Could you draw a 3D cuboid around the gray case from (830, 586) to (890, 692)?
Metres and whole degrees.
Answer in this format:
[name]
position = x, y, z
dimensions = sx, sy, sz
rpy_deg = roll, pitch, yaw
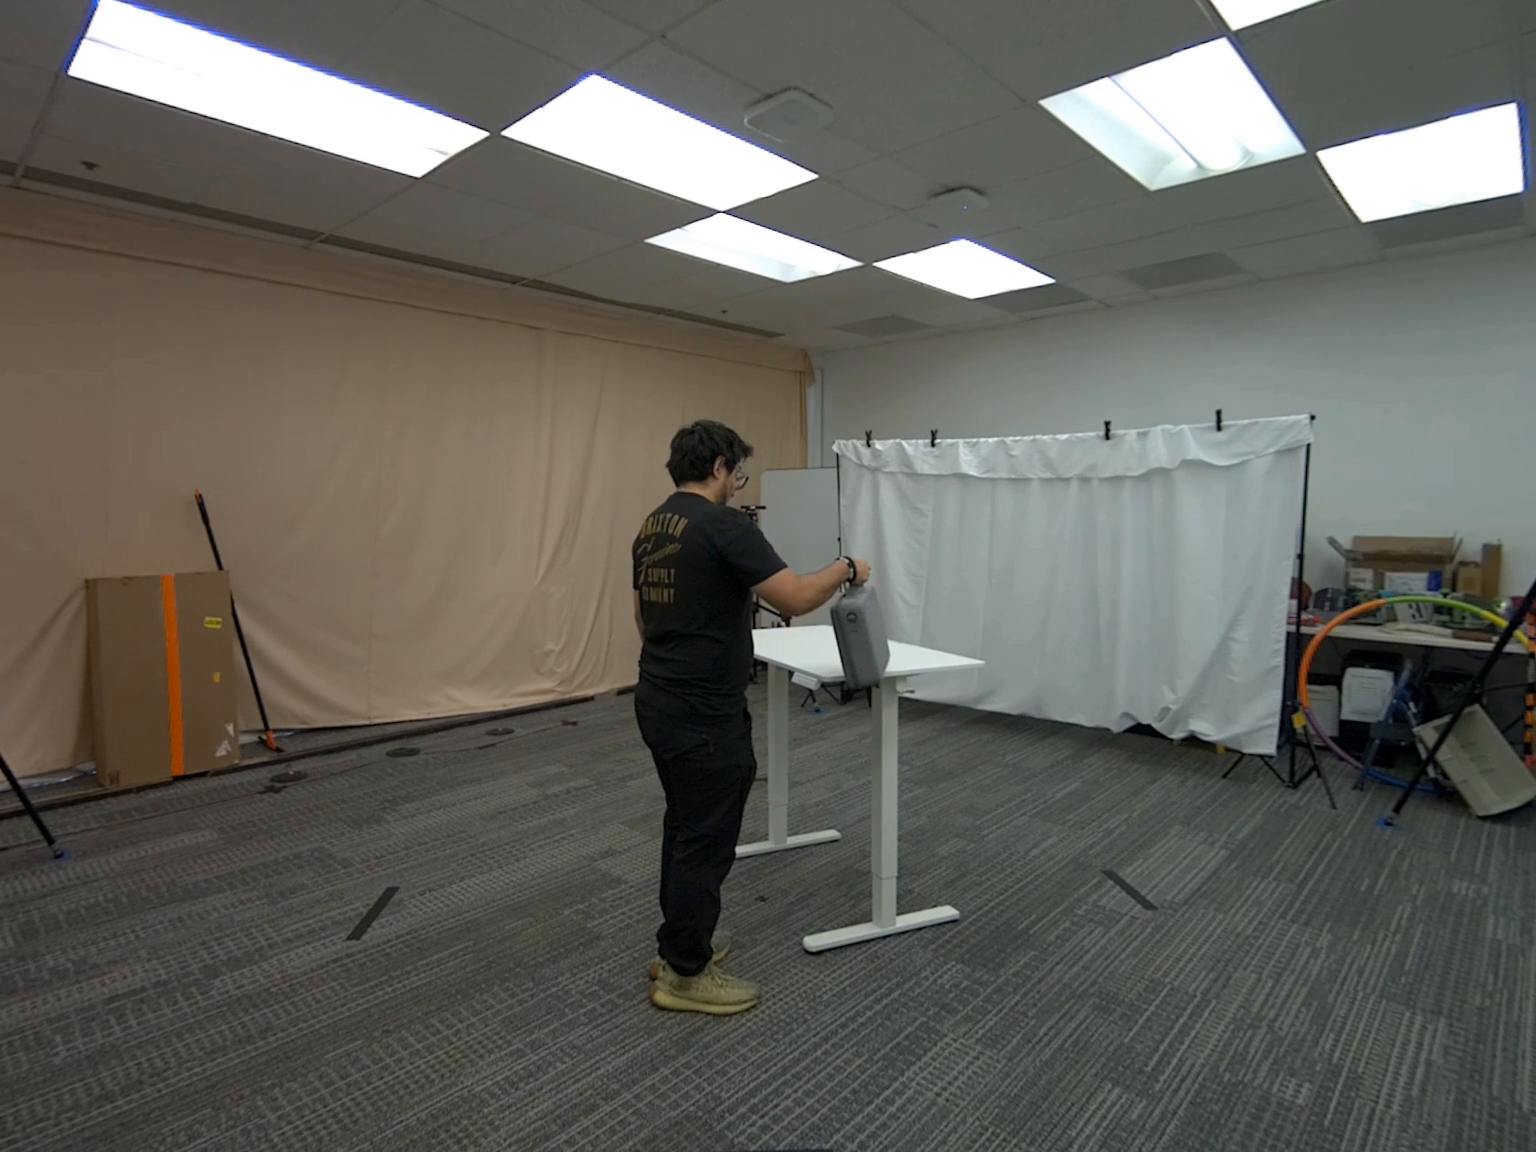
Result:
[gray case]
position = 0.273, 0.168, 2.436
dimensions = 0.106, 0.259, 0.254
rpy_deg = -10, 9, 18
